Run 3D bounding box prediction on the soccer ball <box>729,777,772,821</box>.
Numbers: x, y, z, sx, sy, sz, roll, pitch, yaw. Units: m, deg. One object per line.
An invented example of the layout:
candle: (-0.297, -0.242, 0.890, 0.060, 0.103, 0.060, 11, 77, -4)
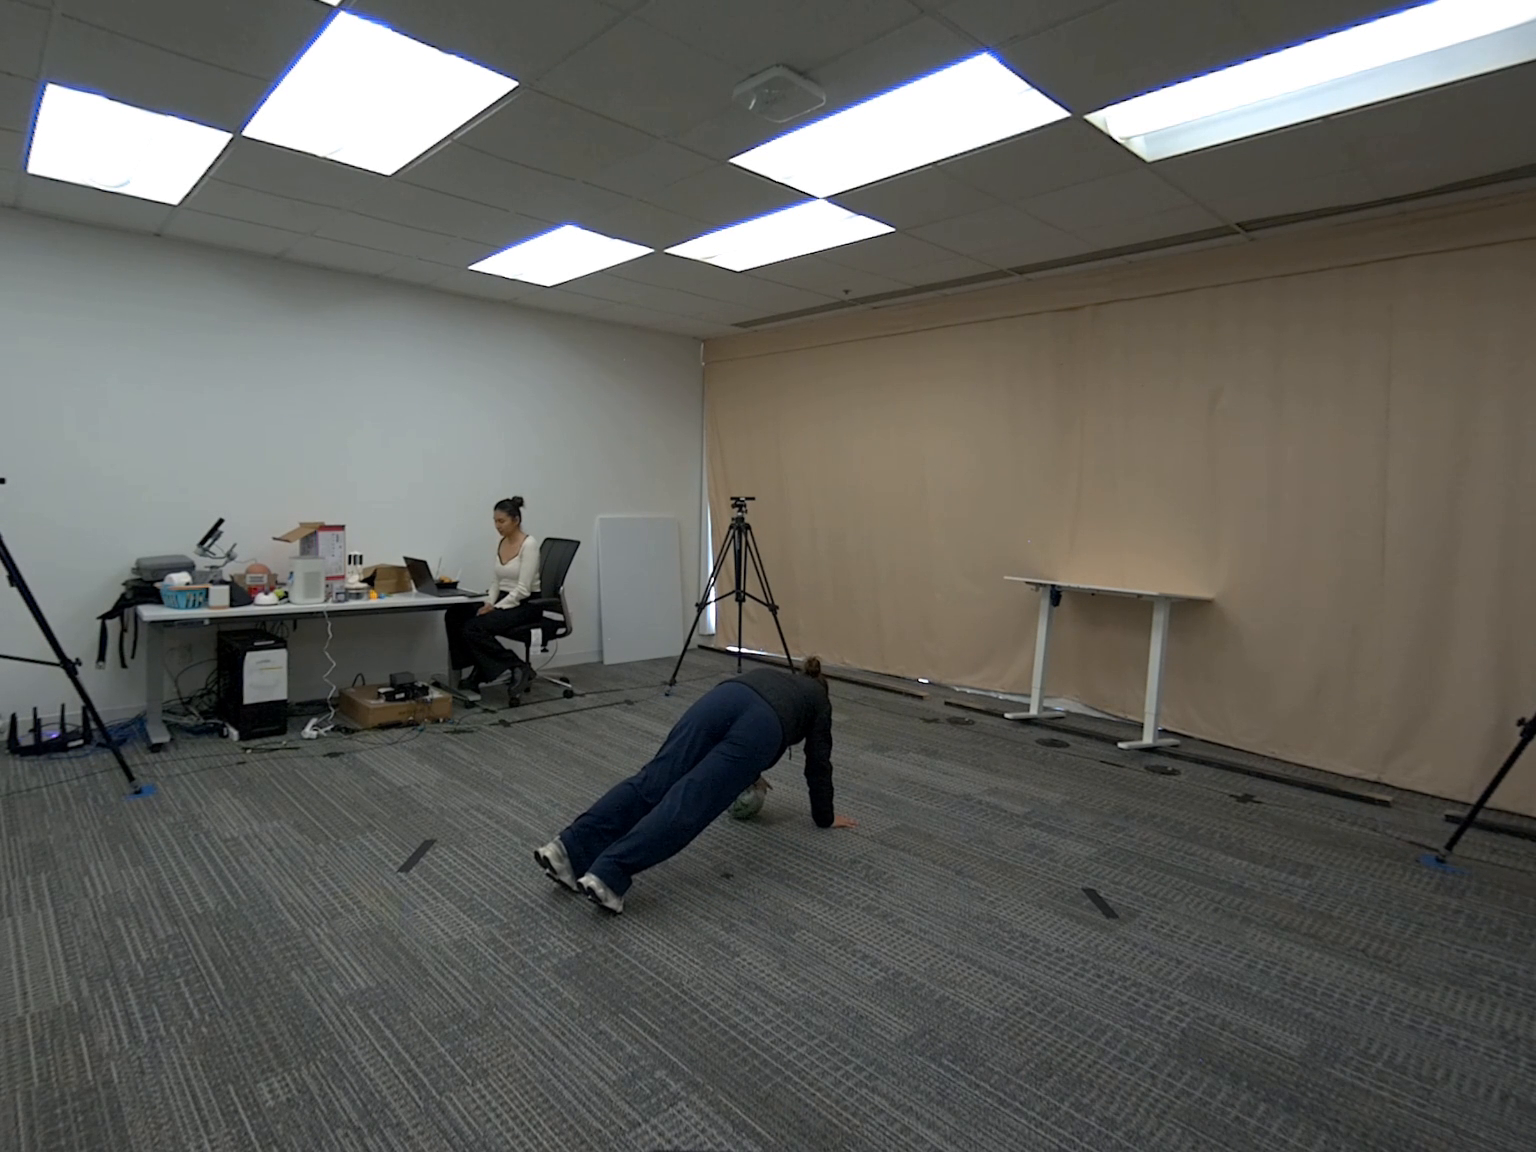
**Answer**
soccer ball: (-0.109, 0.960, 3.689, 0.187, 0.187, 0.188, 1, 4, -1)
